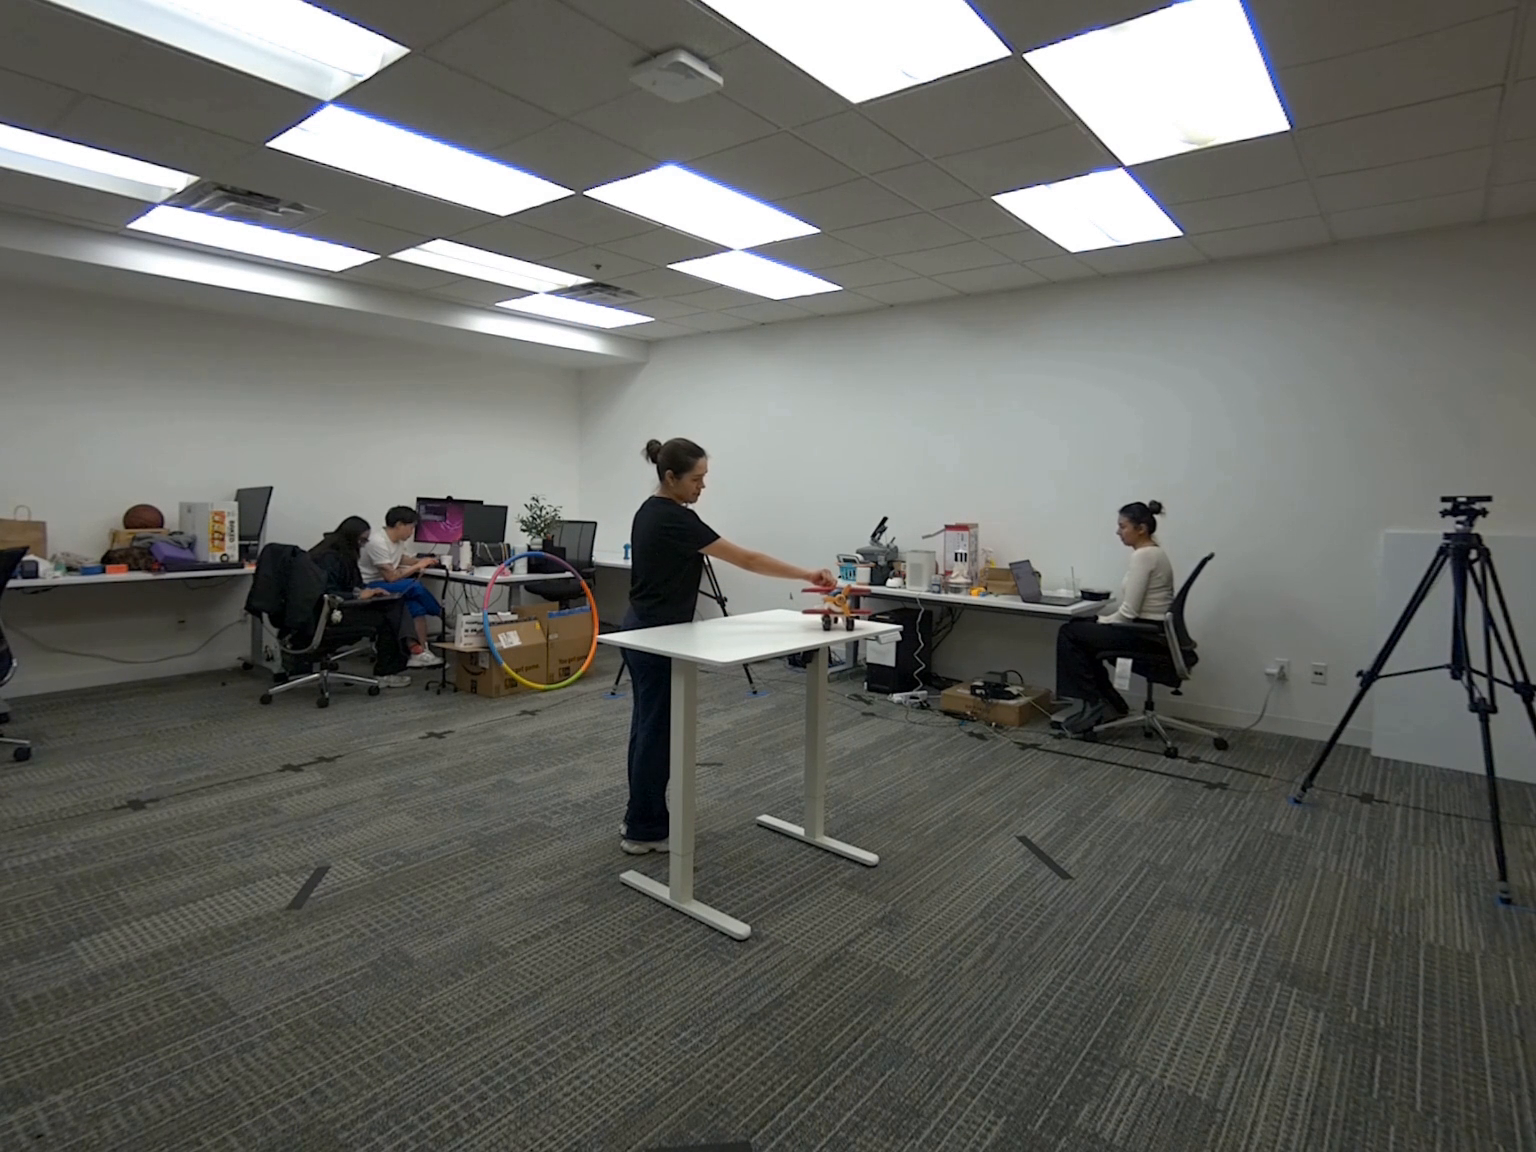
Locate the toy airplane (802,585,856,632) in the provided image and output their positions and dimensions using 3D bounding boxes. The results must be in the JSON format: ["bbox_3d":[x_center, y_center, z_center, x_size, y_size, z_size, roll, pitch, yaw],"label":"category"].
[{"bbox_3d":[0.228,0.105,3.177,0.244,0.156,0.268,-3,8,-35],"label":"toy airplane"}]
